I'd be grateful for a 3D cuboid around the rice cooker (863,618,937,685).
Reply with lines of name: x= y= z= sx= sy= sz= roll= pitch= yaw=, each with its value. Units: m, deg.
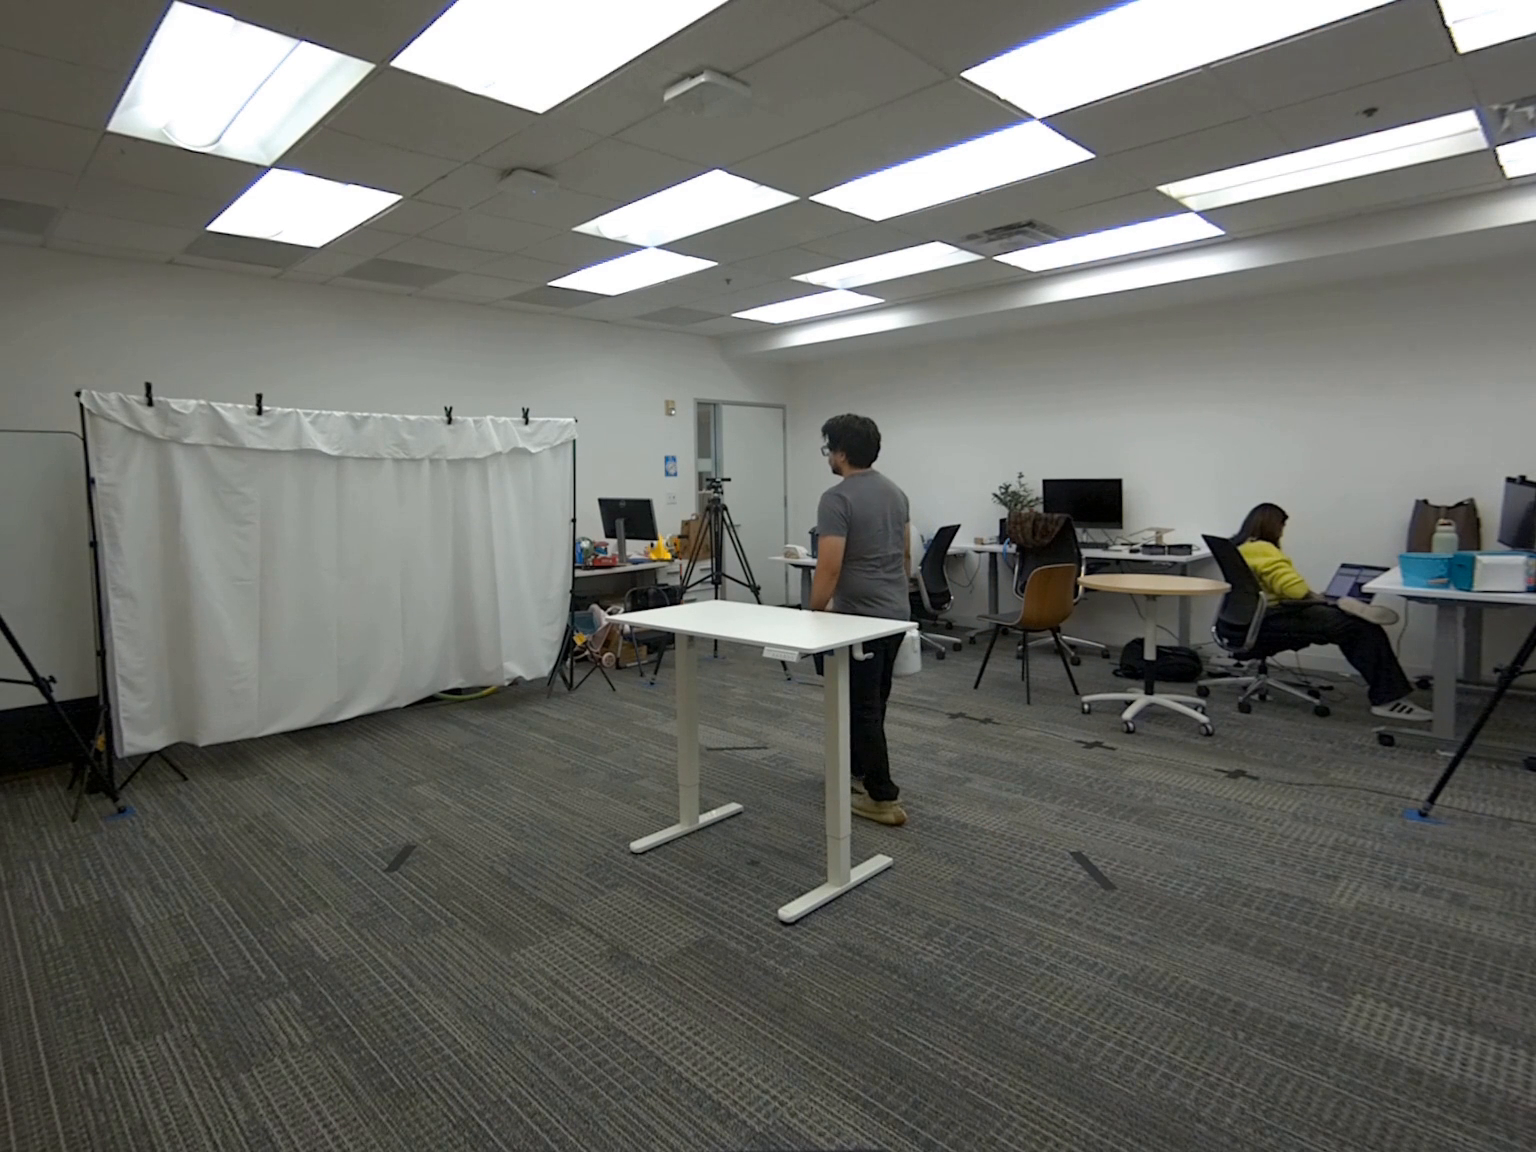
rice cooker: x=0.584 y=0.323 z=3.810 sx=0.227 sy=0.231 sz=0.212 roll=2 pitch=10 yaw=45
